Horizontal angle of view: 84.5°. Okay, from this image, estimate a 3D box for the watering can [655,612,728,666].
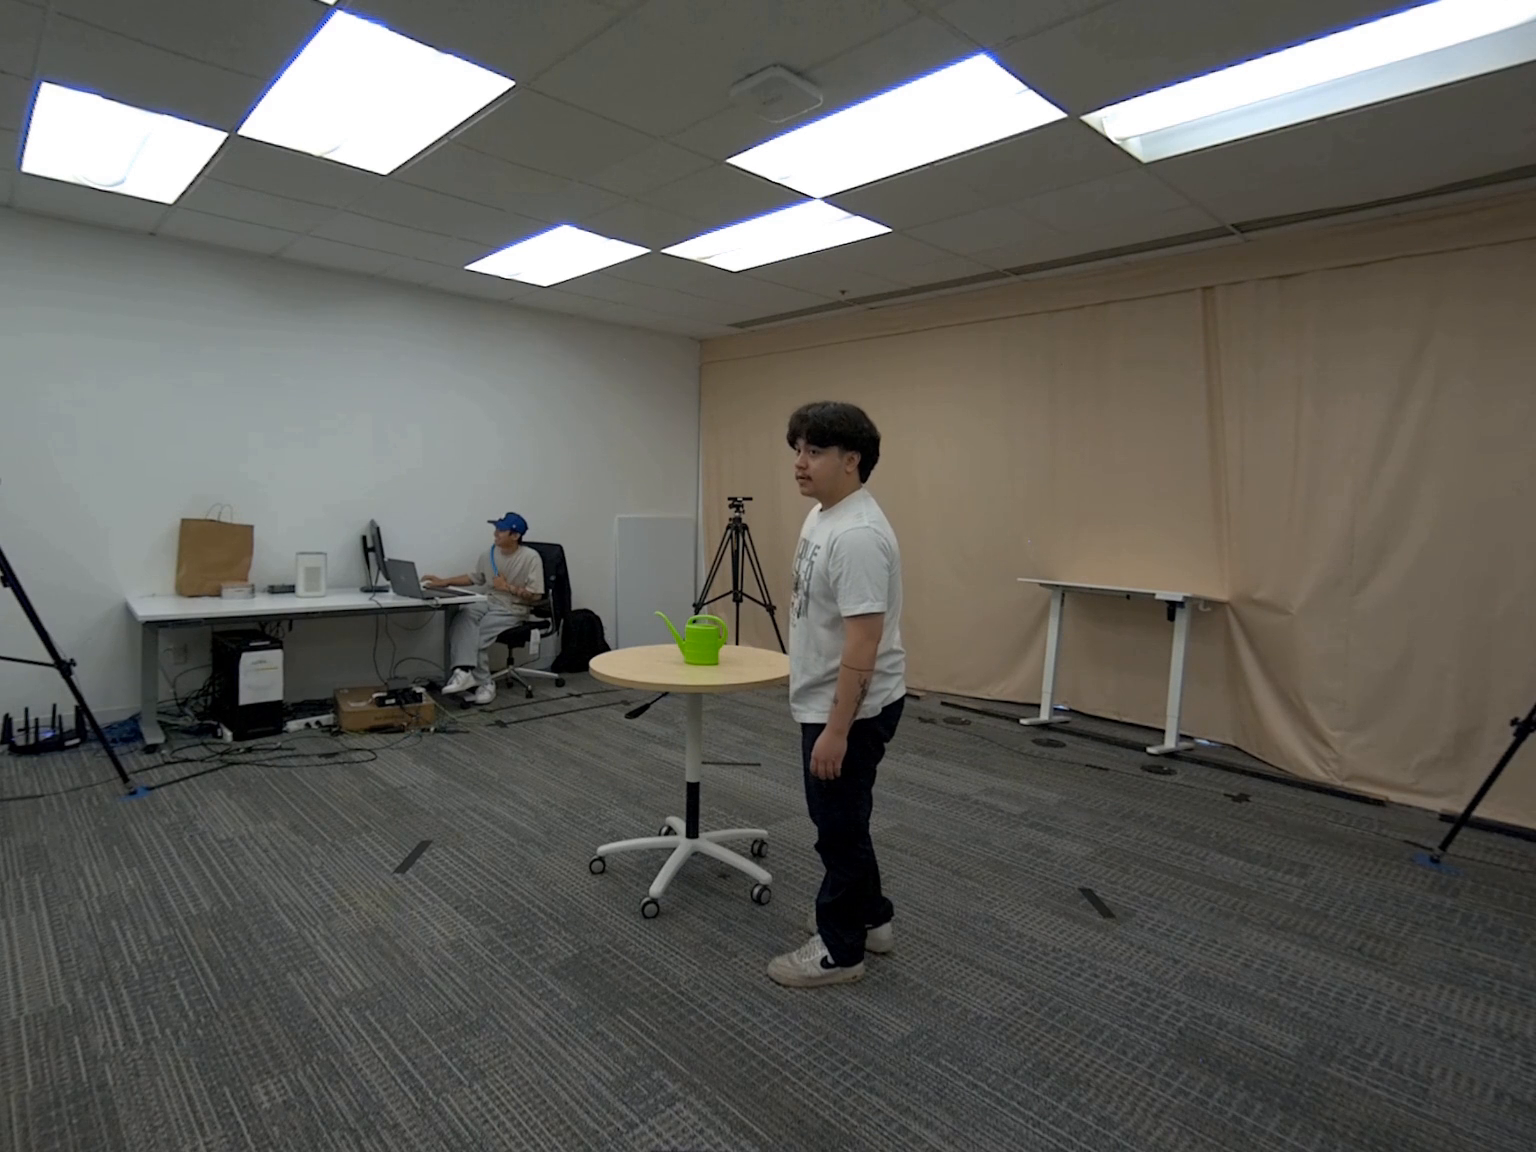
[{"bbox_3d":[-0.286,0.229,3.077,0.285,0.176,0.096,6,6,31],"label":"watering can"}]
